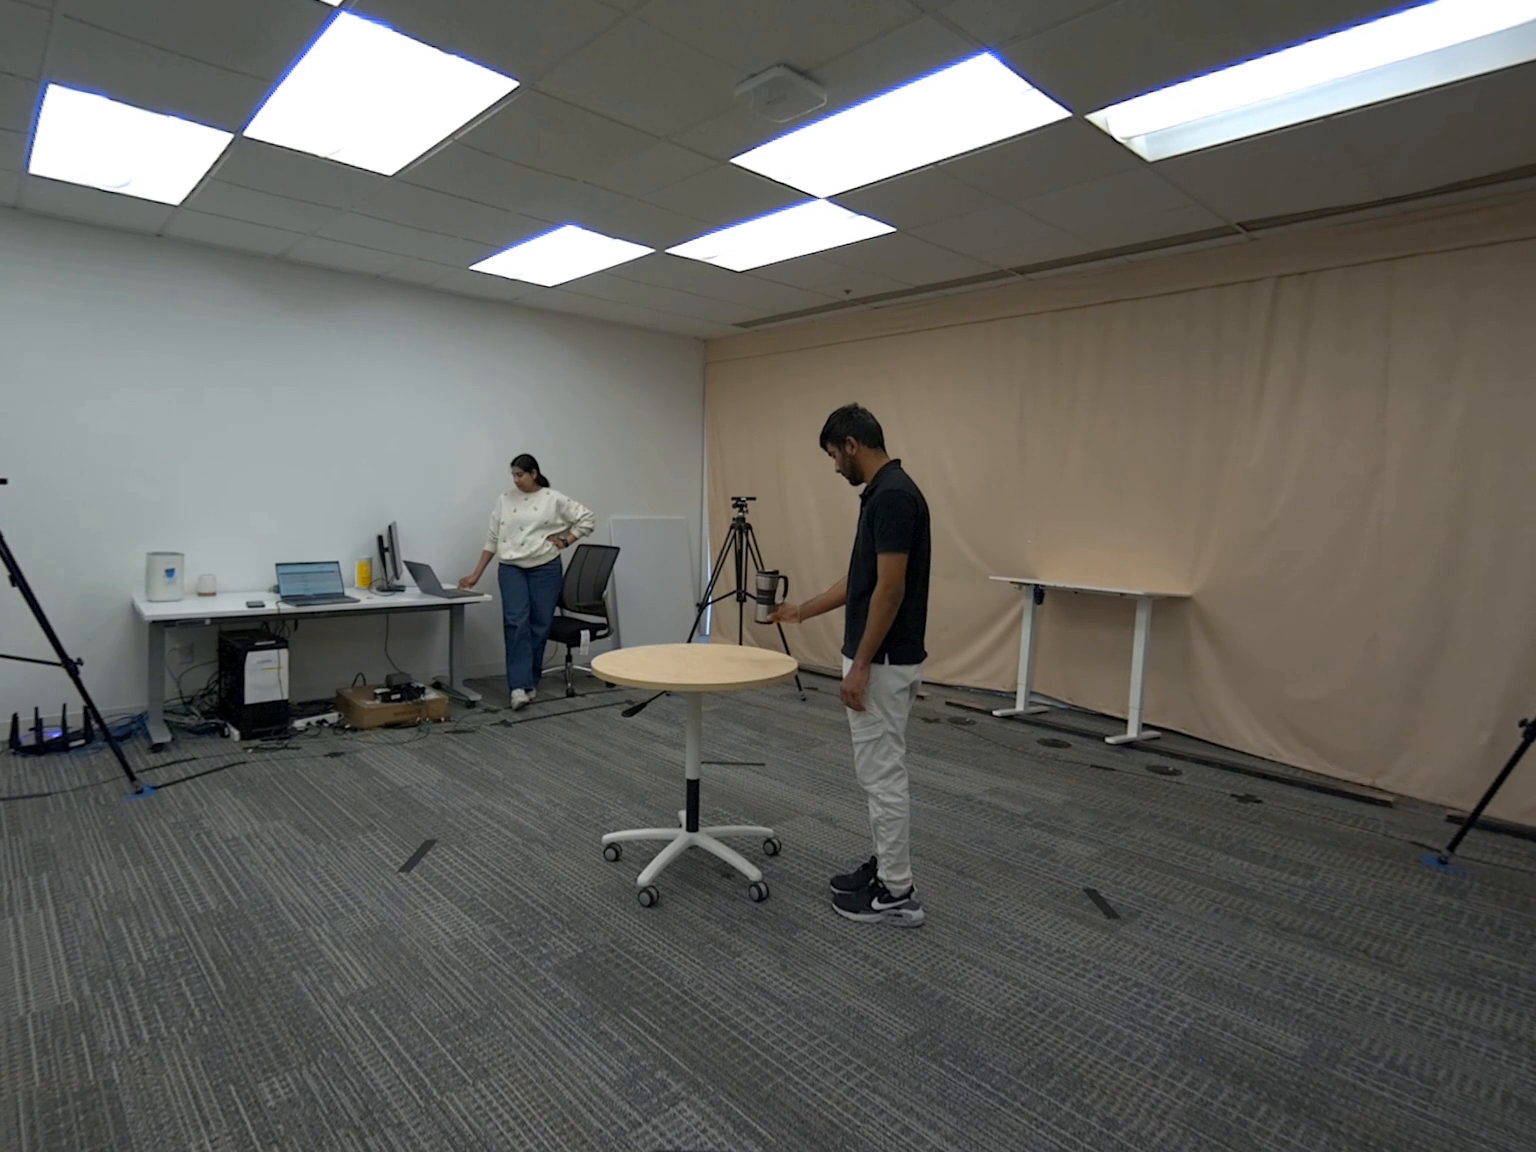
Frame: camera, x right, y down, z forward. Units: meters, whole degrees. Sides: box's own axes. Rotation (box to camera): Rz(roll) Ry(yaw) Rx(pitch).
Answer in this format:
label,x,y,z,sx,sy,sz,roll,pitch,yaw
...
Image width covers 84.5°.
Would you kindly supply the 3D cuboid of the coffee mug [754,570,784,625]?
label,x,y,z,sx,sy,sz,roll,pitch,yaw
coffee mug,0.004,0.079,3.138,0.125,0.202,0.086,7,5,40
